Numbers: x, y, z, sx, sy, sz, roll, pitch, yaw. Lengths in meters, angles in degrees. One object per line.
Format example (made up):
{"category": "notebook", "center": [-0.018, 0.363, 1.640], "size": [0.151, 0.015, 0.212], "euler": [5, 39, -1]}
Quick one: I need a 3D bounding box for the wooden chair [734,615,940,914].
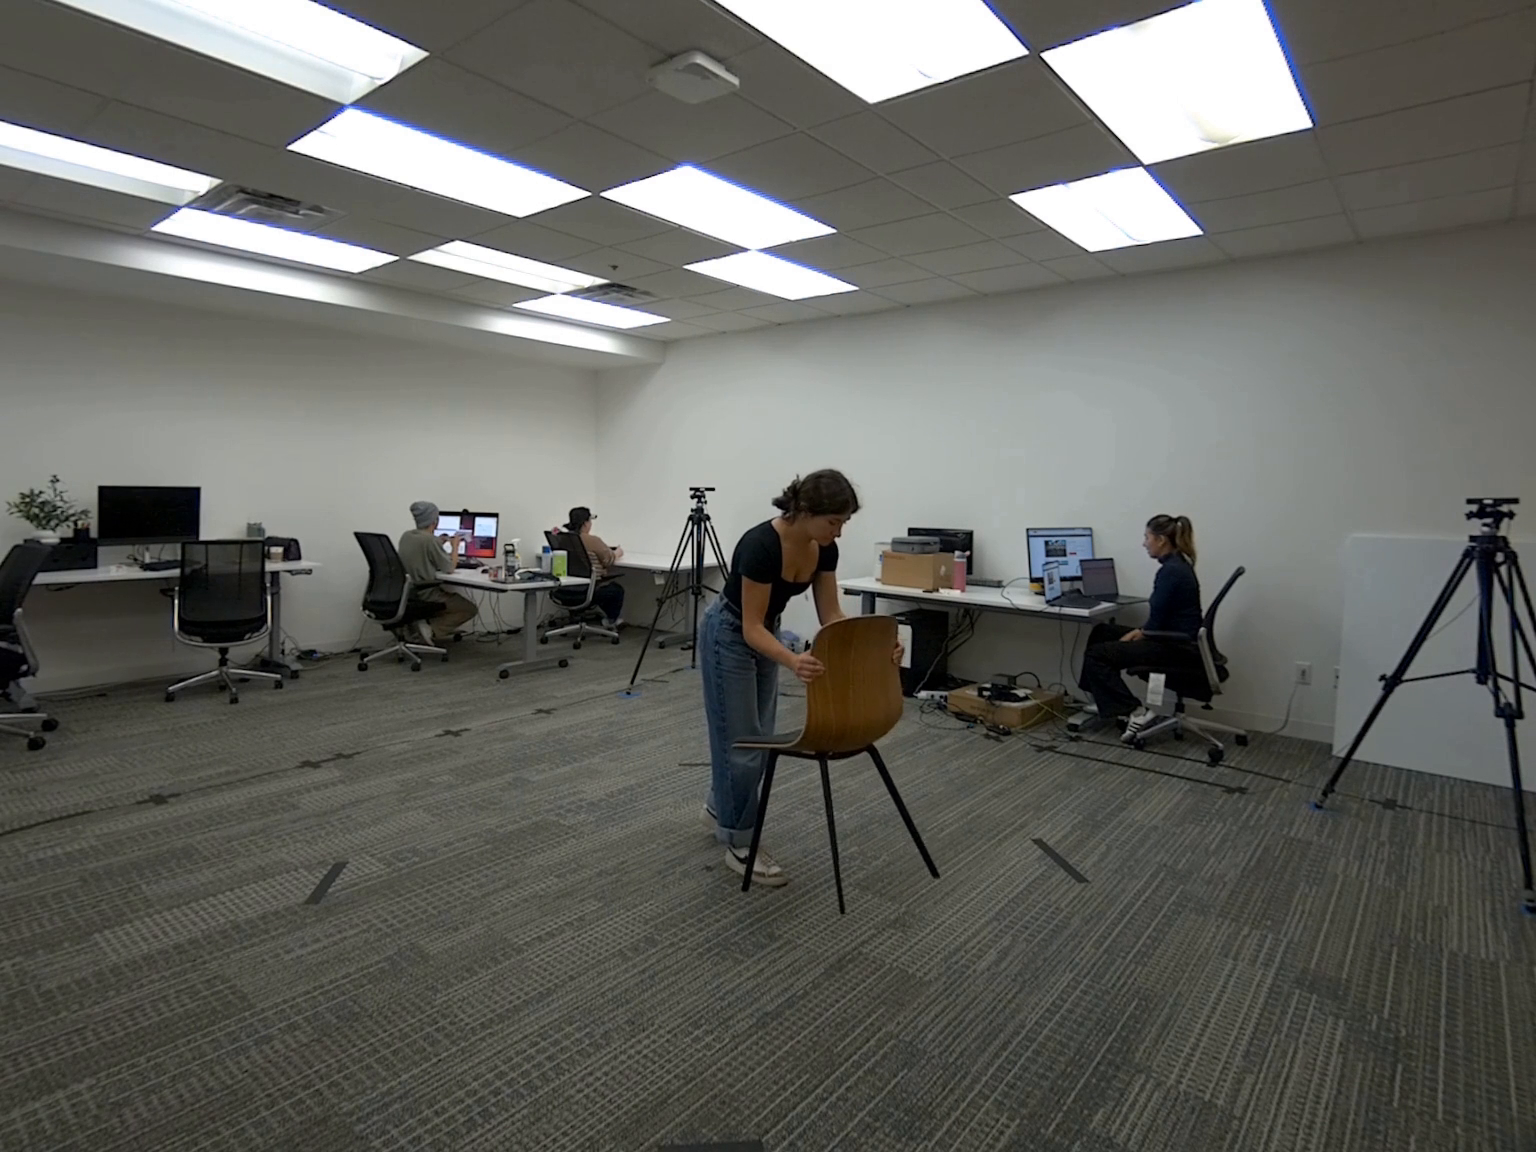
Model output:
{"category": "wooden chair", "center": [0.168, 0.575, 2.809], "size": [0.463, 0.882, 0.537], "euler": [0, -6, -41]}
